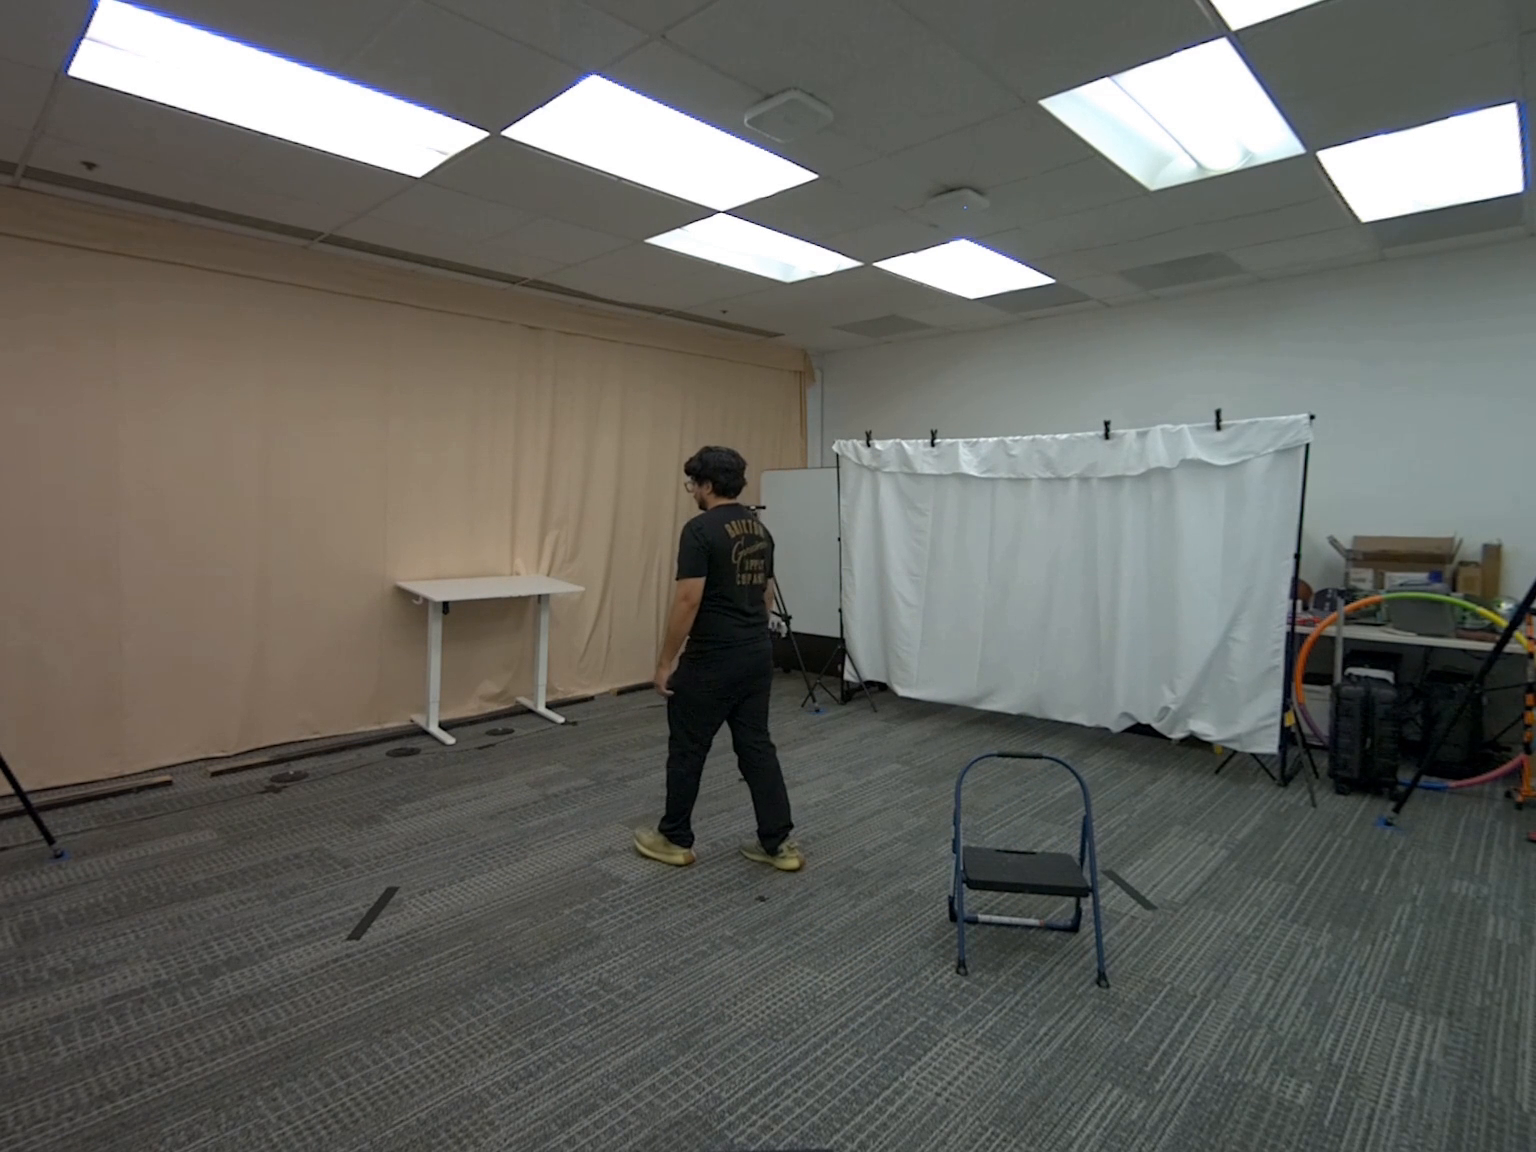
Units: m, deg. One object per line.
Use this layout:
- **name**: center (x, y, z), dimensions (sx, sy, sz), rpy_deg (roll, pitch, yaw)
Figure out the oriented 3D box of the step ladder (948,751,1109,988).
- **step ladder**: center (0.802, 0.870, 2.616), dimensions (0.435, 0.605, 0.346), rpy_deg (1, 3, 8)
